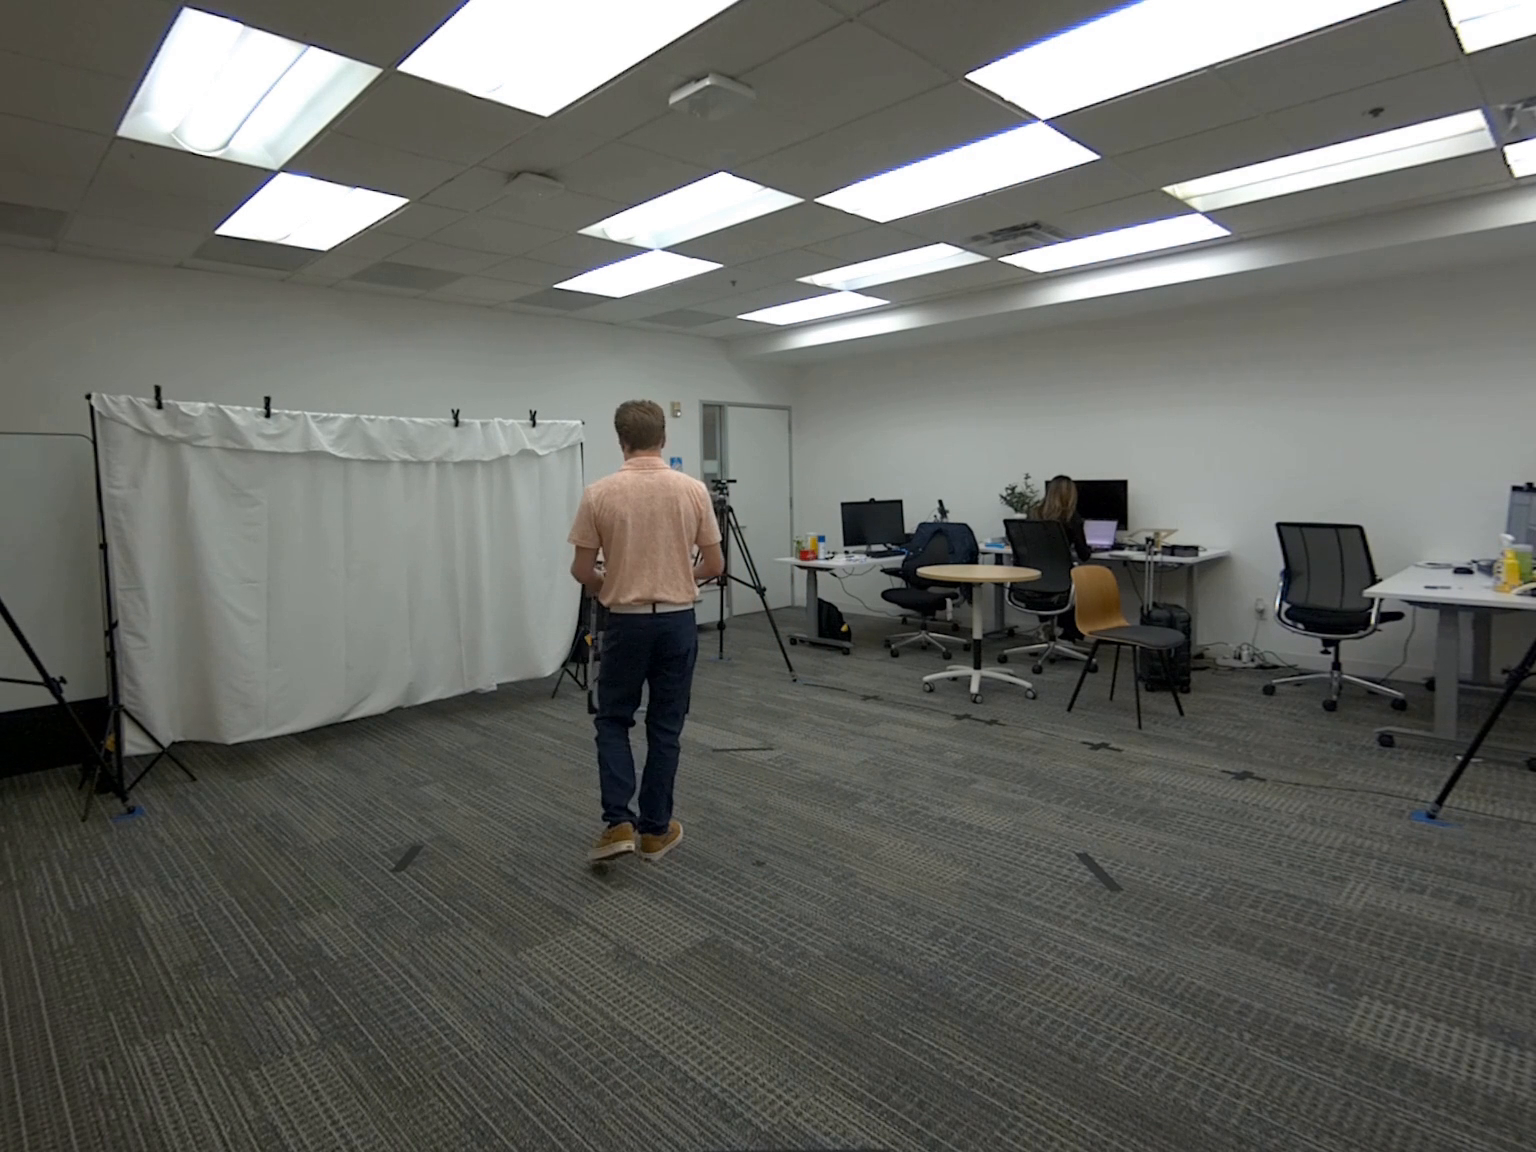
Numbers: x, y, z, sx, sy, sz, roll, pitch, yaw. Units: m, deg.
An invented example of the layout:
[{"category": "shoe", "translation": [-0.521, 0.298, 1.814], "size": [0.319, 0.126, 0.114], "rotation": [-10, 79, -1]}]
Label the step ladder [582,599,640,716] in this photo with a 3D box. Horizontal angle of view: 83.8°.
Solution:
[{"category": "step ladder", "translation": [-0.533, 0.231, 3.560], "size": [0.426, 0.598, 0.357], "rotation": [2, 16, -11]}]
